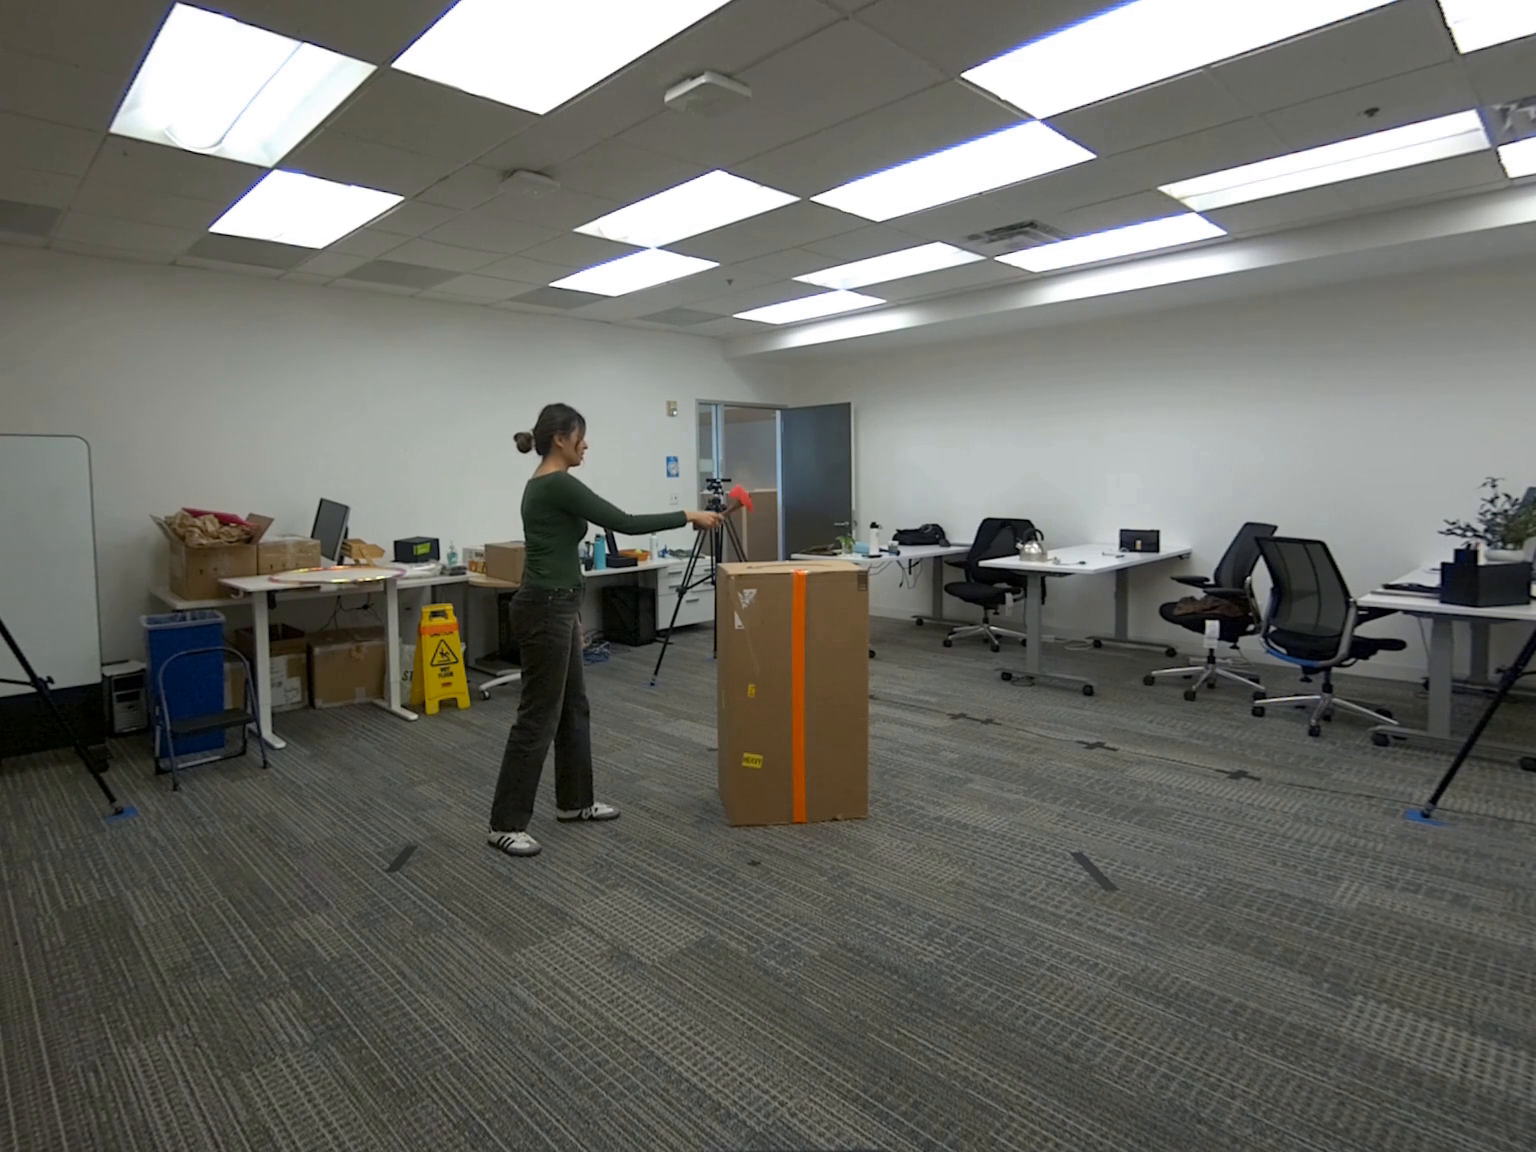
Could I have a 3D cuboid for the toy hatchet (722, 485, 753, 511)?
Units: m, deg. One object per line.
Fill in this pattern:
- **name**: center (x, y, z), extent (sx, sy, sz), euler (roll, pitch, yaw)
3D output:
- **toy hatchet**: center (-0.194, -0.283, 3.406), extent (0.267, 0.129, 0.030), euler (-16, 12, -16)
